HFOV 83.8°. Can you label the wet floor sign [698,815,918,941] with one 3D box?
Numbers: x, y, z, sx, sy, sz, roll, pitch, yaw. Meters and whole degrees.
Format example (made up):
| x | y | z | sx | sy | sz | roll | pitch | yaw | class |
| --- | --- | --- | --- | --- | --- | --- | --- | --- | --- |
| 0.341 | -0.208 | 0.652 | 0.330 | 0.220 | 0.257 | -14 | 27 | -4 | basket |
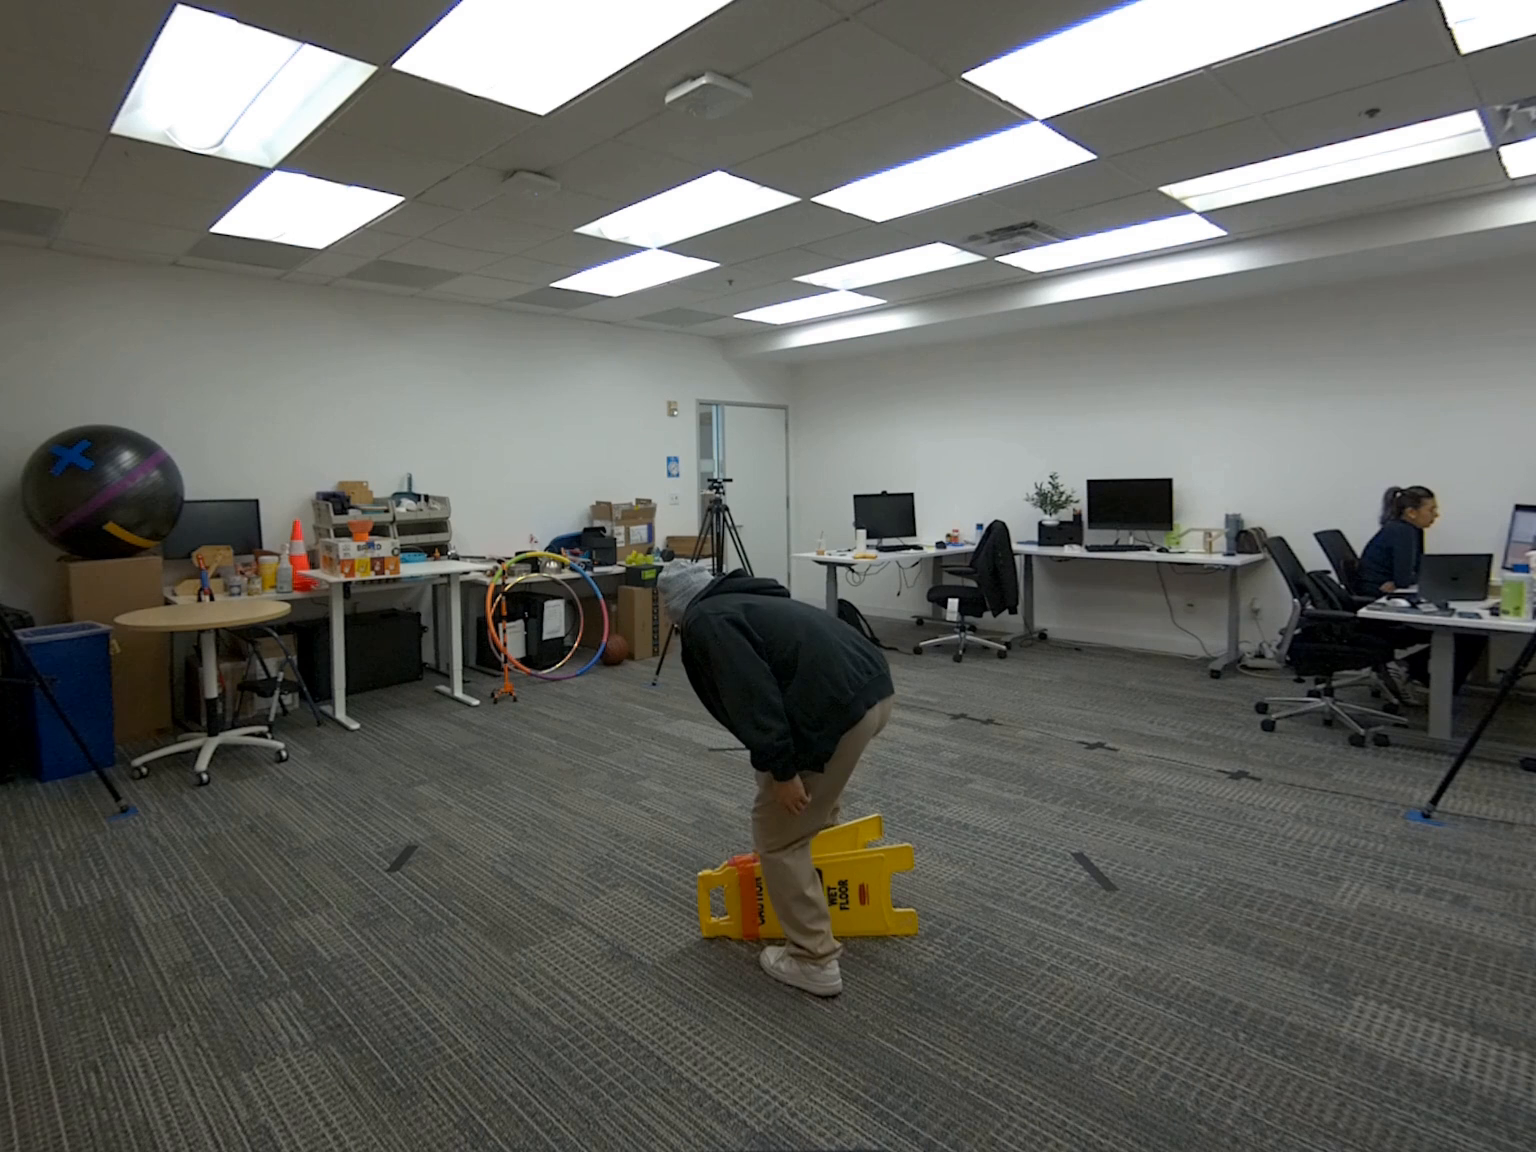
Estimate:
| x | y | z | sx | sy | sz | roll | pitch | yaw | class |
| --- | --- | --- | --- | --- | --- | --- | --- | --- | --- |
| 0.112 | 0.969 | 2.647 | 0.640 | 0.281 | 0.294 | -6 | 5 | -11 | wet floor sign |
